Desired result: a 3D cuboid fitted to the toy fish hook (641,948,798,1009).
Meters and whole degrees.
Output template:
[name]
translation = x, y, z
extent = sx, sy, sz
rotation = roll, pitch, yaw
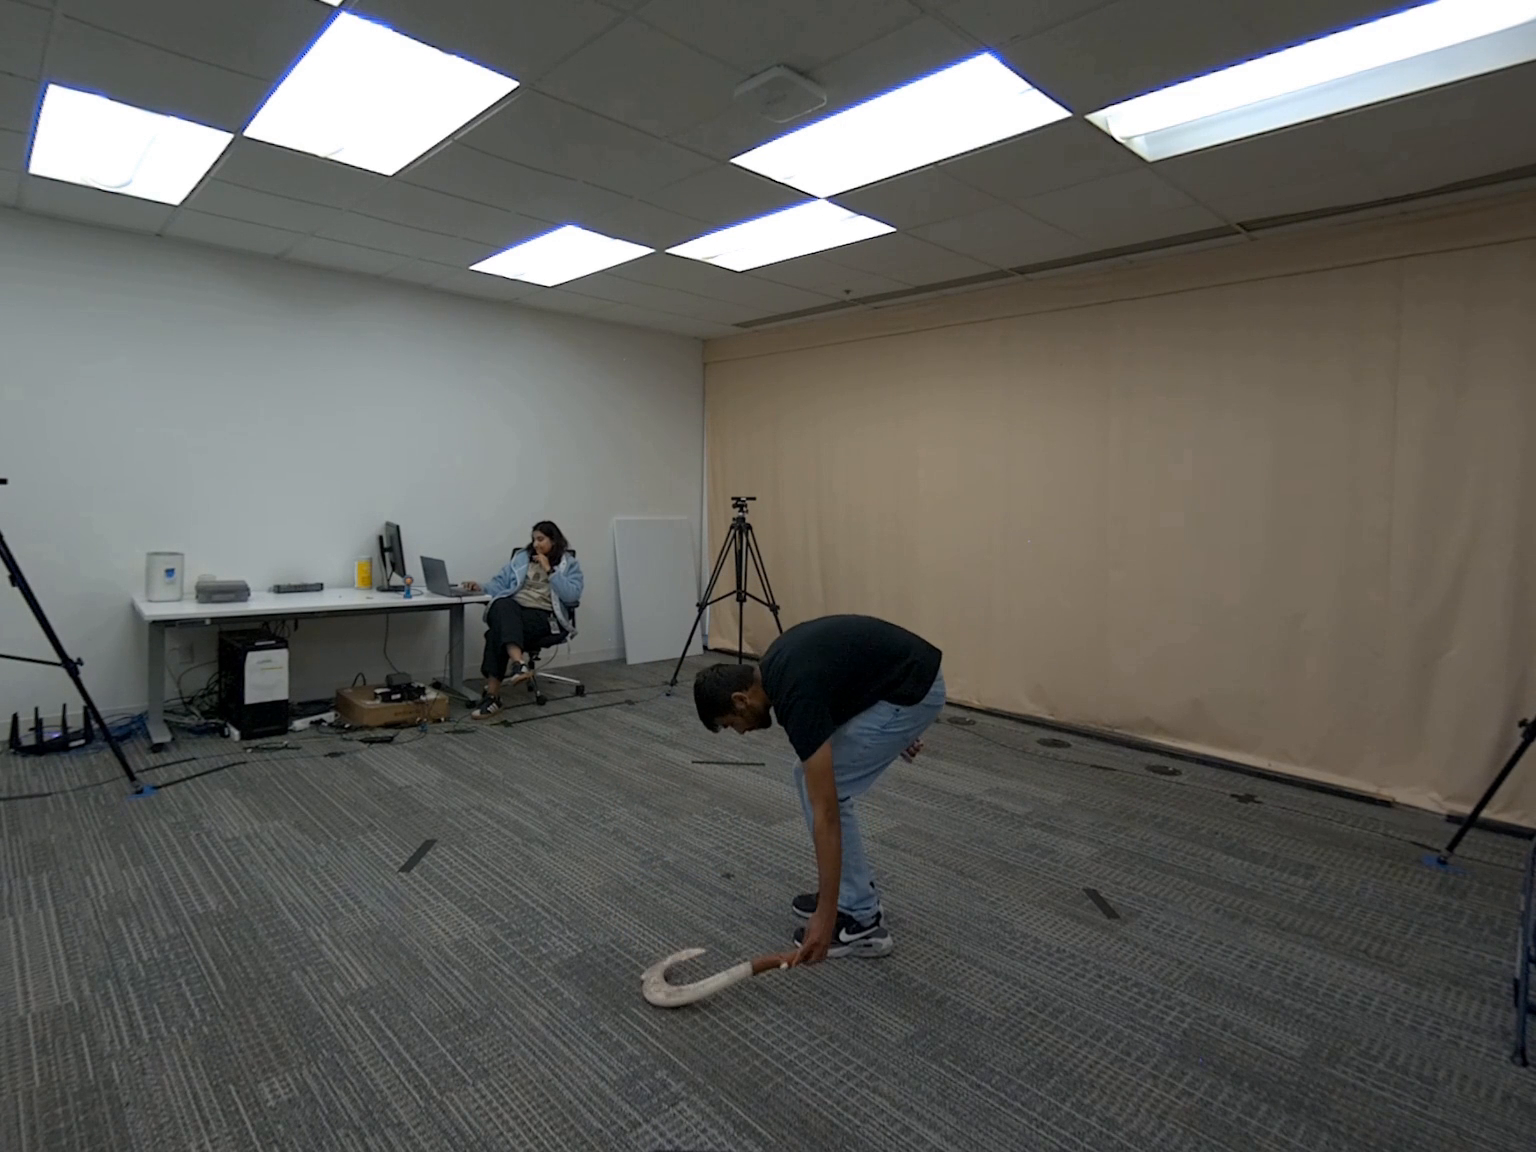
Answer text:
[toy fish hook]
translation = -0.115, 1.100, 2.405
extent = 0.504, 0.048, 0.228
rotation = -10, 12, -9
